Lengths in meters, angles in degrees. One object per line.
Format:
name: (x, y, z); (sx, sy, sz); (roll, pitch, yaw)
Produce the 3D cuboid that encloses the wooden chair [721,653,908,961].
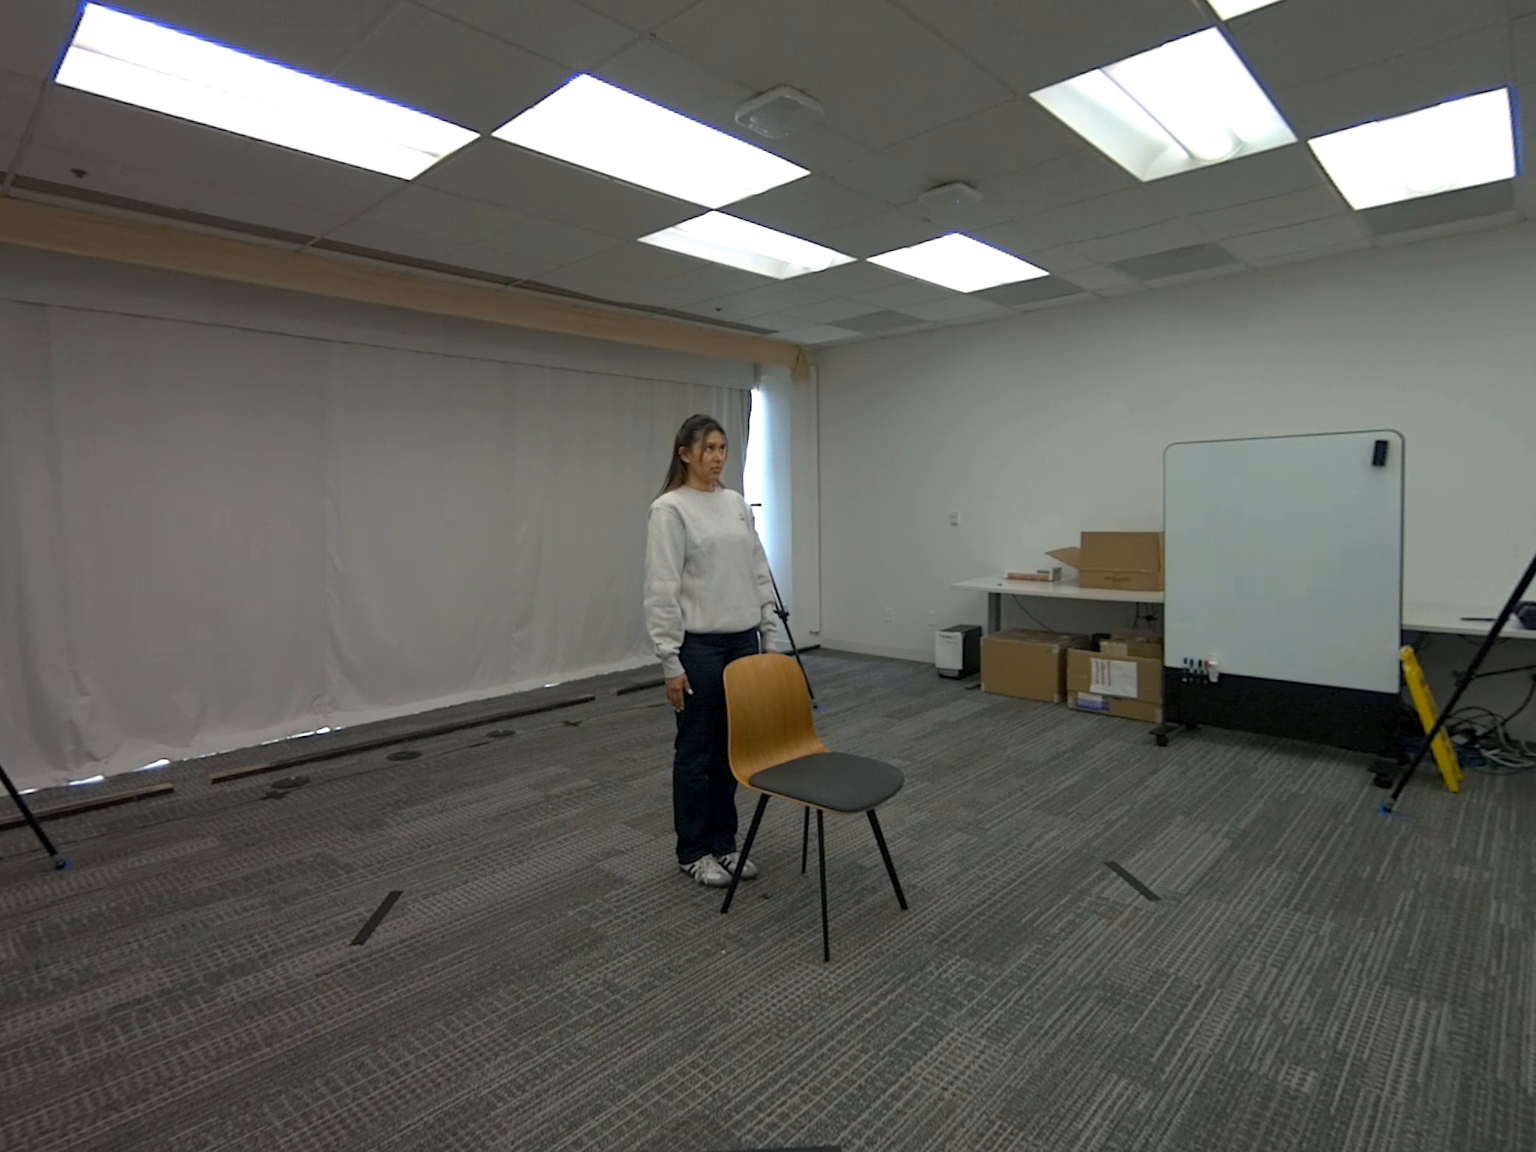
wooden chair: (0.166, 0.720, 2.829); (0.539, 0.877, 0.463); (-4, 1, 43)
